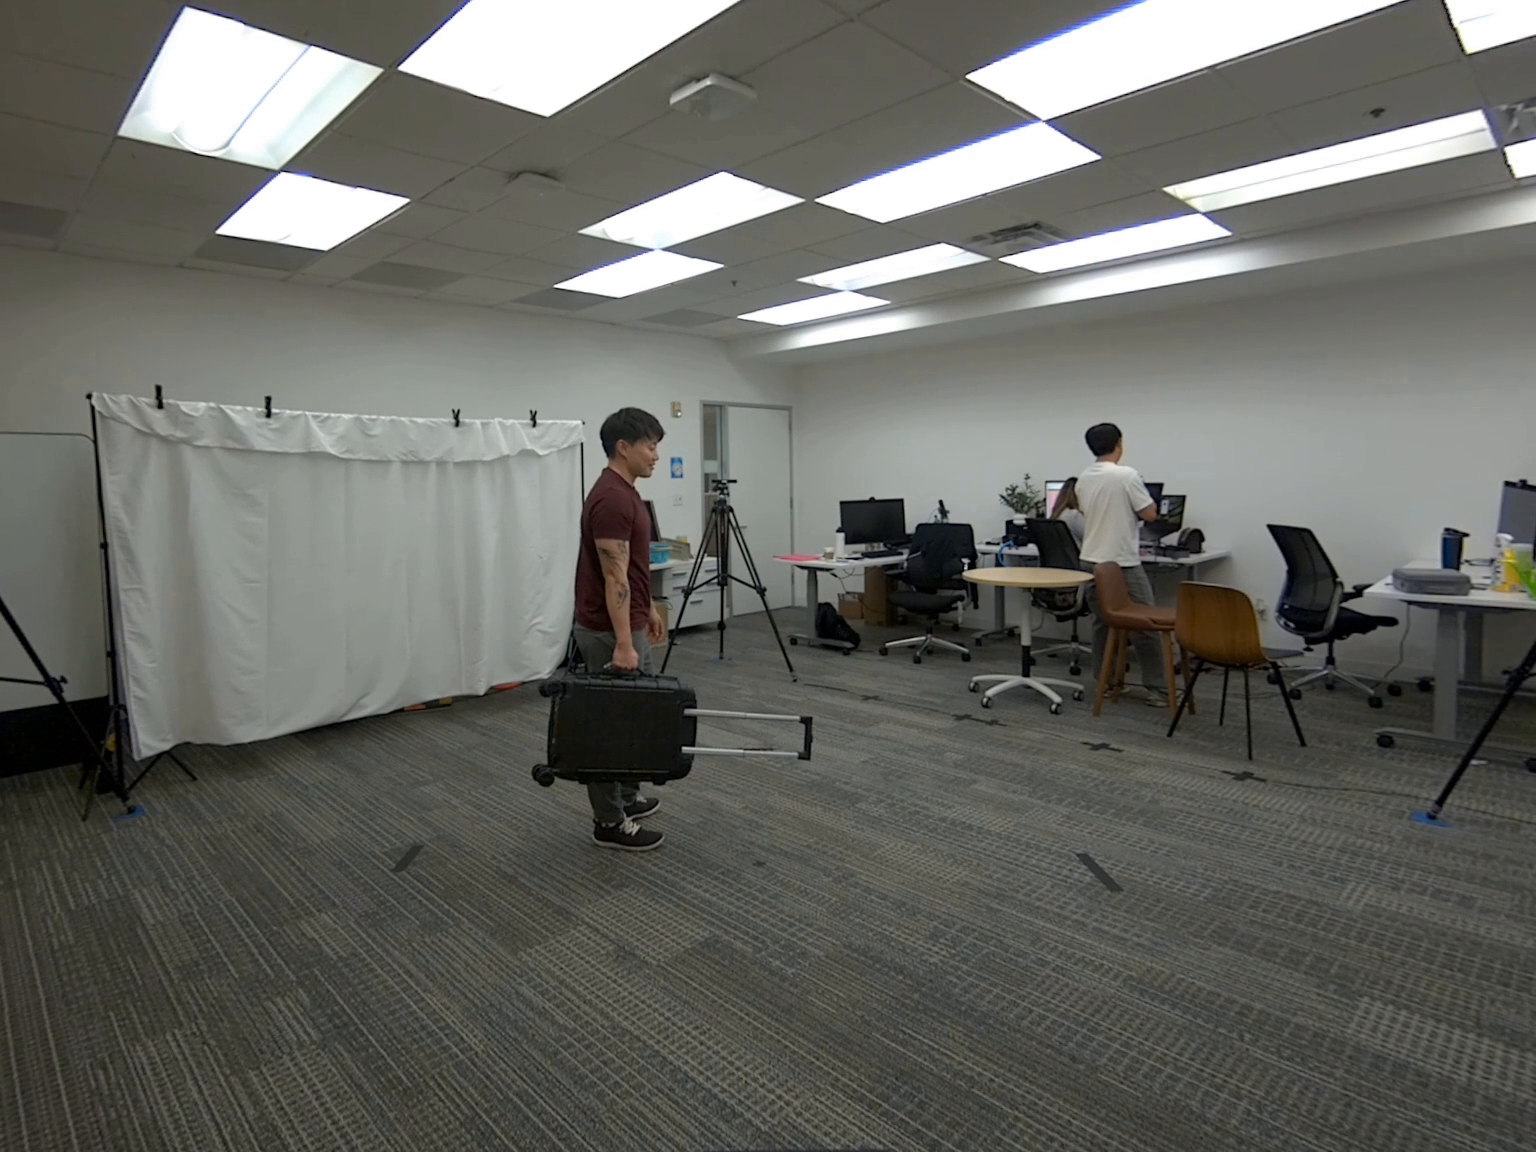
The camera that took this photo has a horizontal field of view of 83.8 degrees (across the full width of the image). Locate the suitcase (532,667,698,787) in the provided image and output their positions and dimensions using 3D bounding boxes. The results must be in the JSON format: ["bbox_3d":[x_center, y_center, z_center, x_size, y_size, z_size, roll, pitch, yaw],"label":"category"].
[{"bbox_3d":[-0.338,0.552,3.092,0.960,0.387,0.260,5,-9,-18],"label":"suitcase"}]
